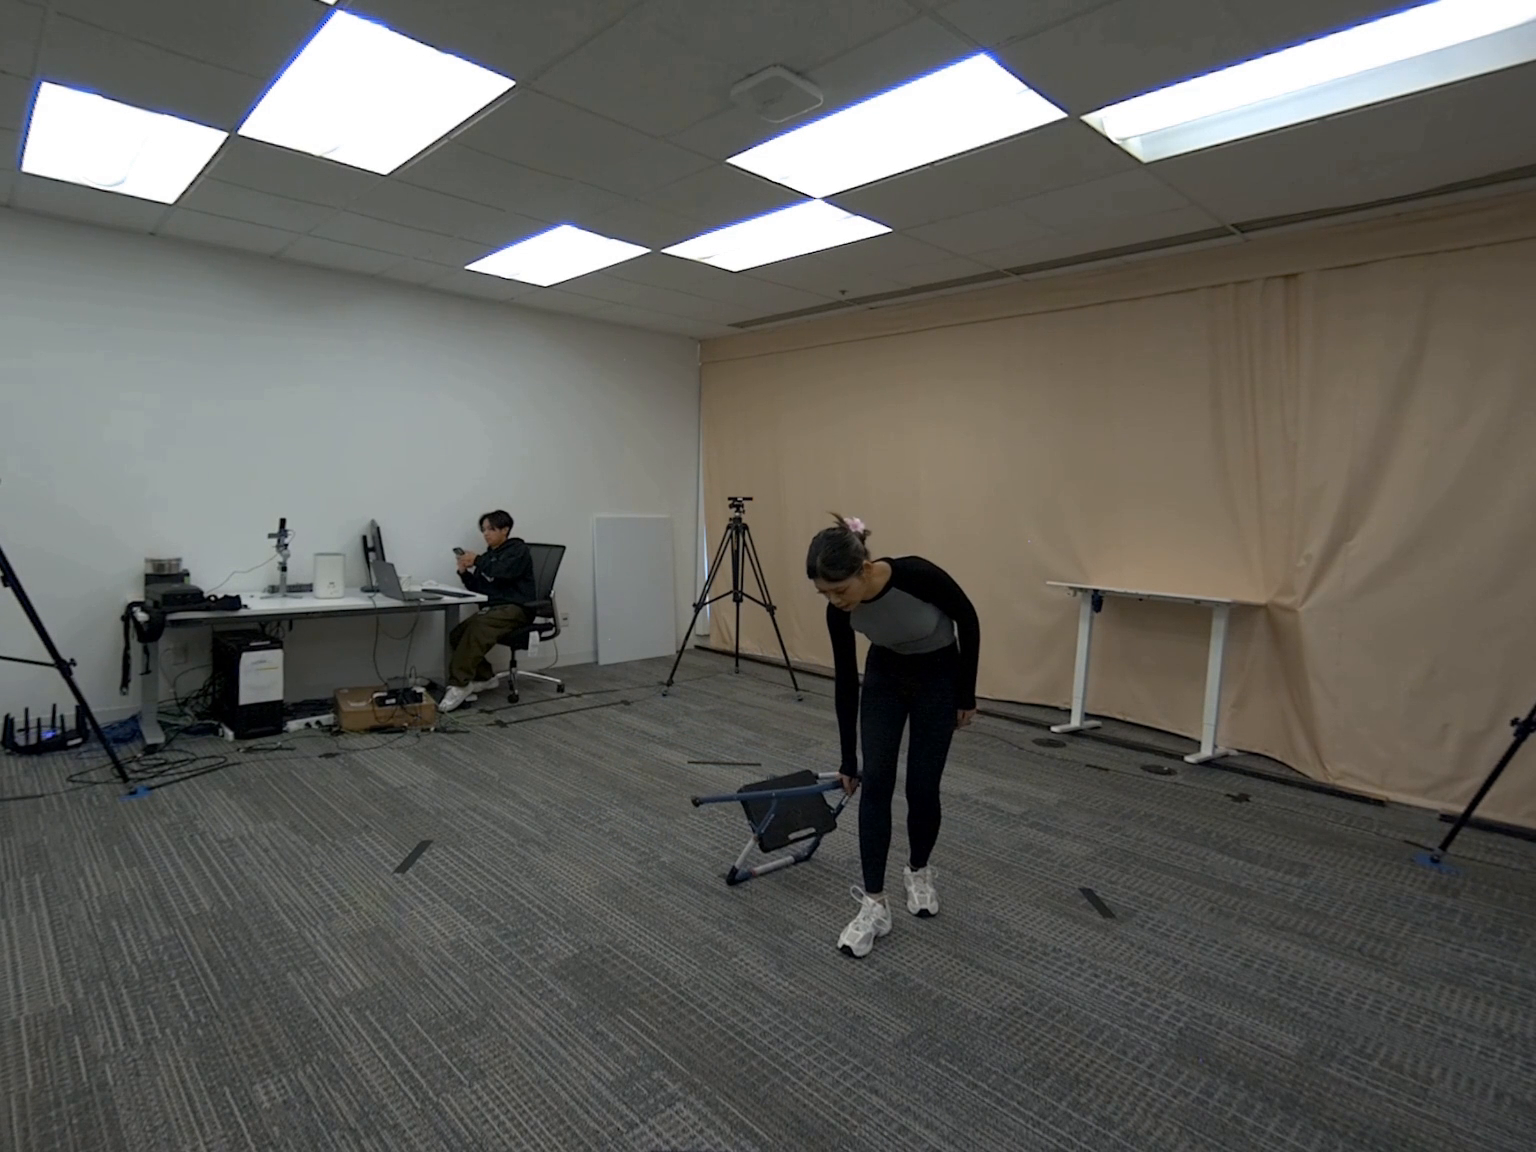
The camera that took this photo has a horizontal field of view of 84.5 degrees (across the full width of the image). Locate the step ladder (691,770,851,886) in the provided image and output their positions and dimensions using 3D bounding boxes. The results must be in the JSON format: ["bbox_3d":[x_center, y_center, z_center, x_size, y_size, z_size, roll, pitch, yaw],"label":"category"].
[{"bbox_3d":[0.084,0.798,3.048,0.421,0.358,0.605,-3,-34,-40],"label":"step ladder"}]
